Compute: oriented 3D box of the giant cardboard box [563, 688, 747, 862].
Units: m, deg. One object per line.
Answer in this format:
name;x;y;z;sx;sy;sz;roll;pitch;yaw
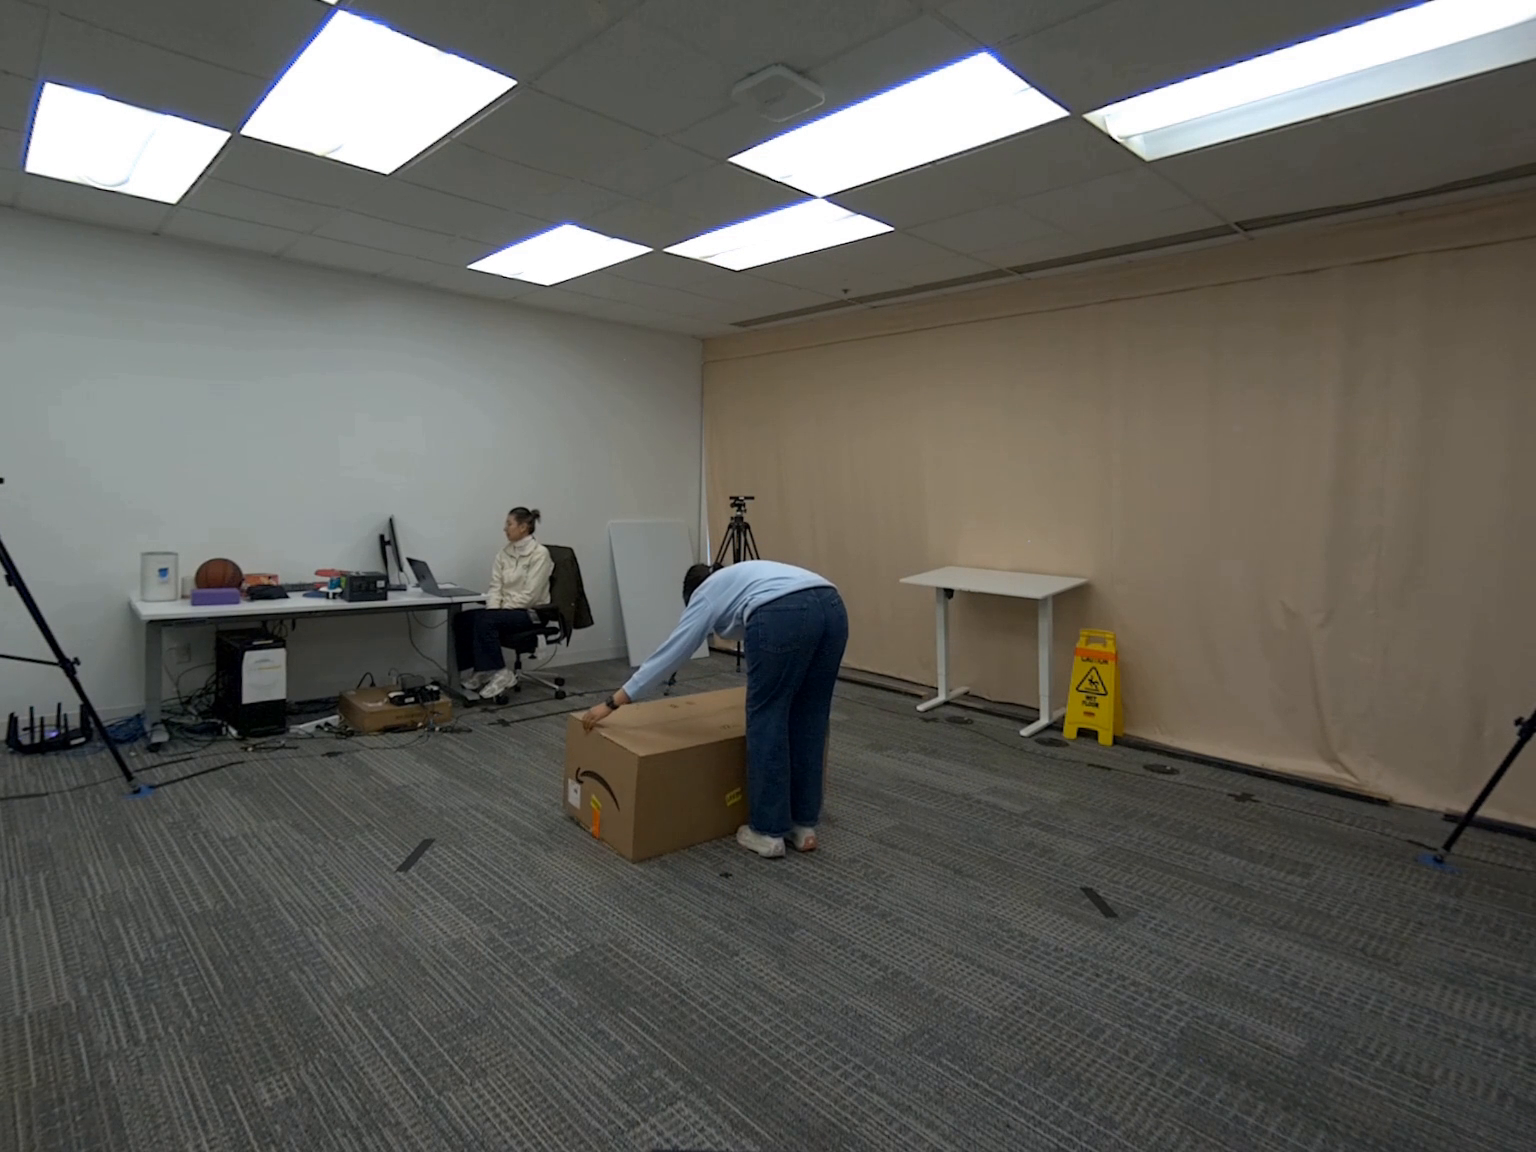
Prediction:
giant cardboard box;-0.306;0.817;3.698;1.003;0.424;0.593;-3;9;-40
